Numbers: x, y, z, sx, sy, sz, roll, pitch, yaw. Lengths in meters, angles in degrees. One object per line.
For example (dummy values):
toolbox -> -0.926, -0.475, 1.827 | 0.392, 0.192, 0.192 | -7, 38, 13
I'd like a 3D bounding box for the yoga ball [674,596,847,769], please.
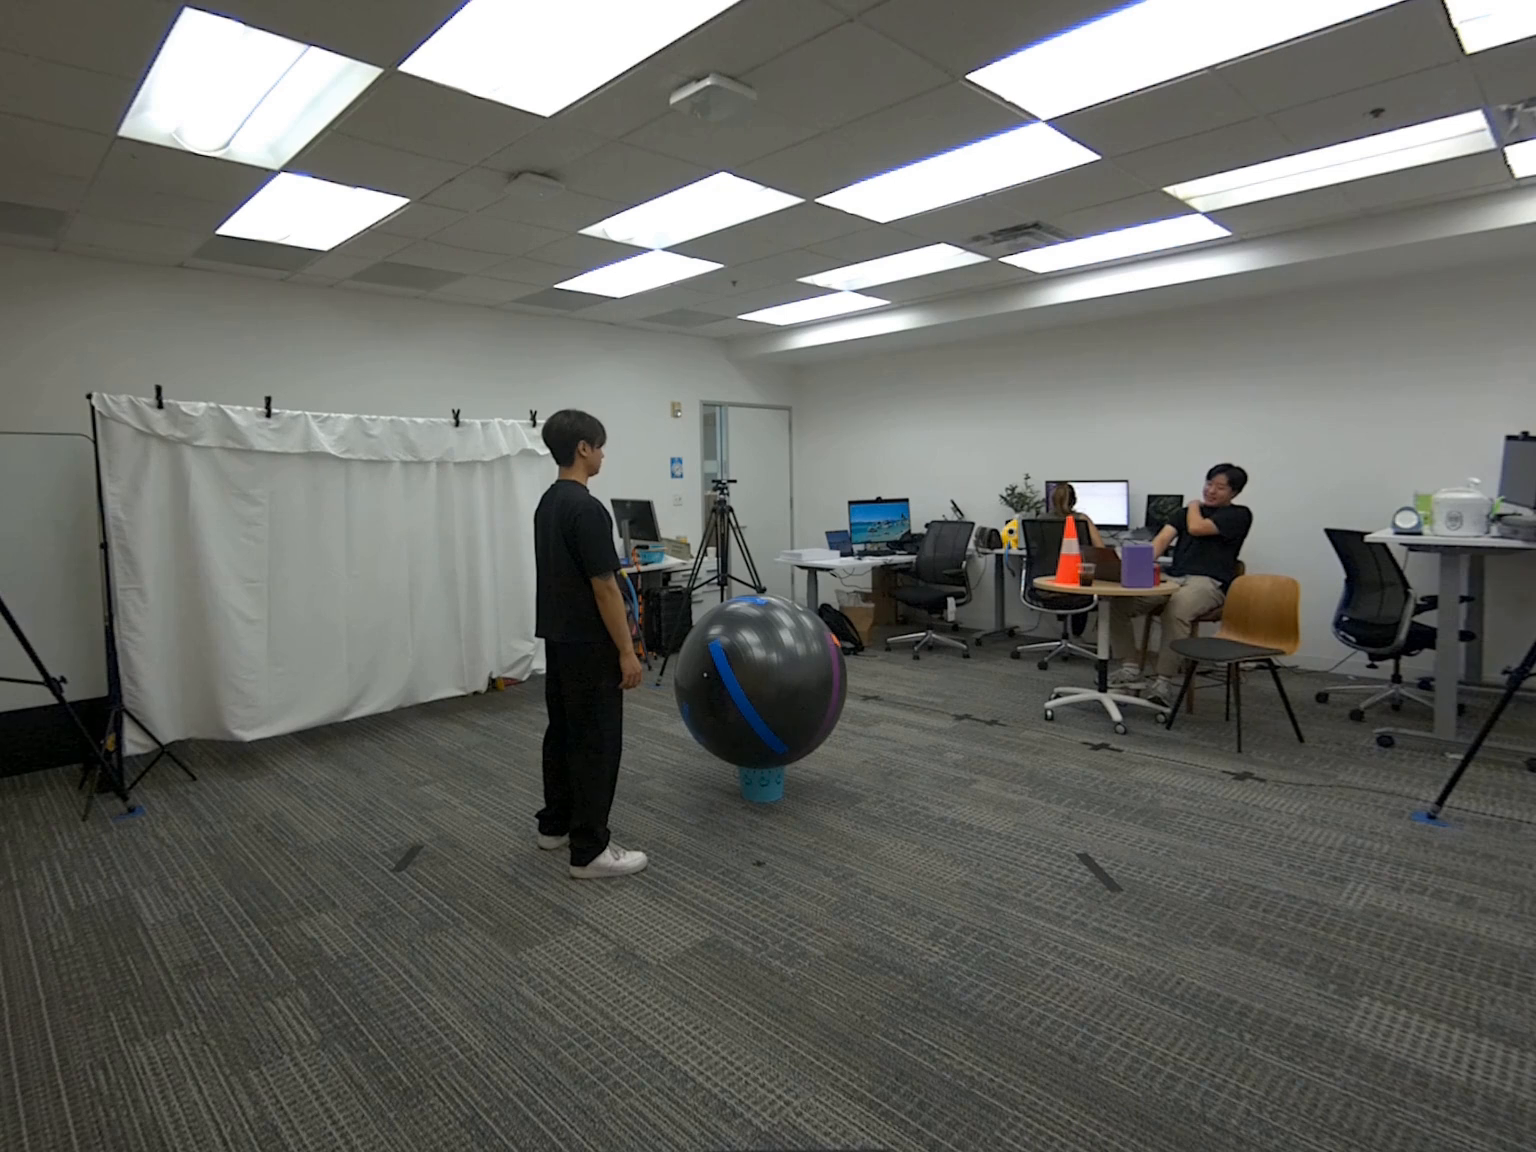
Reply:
yoga ball -> -0.028, 0.461, 3.768 | 0.757, 0.755, 0.762 | -1, 5, -2
